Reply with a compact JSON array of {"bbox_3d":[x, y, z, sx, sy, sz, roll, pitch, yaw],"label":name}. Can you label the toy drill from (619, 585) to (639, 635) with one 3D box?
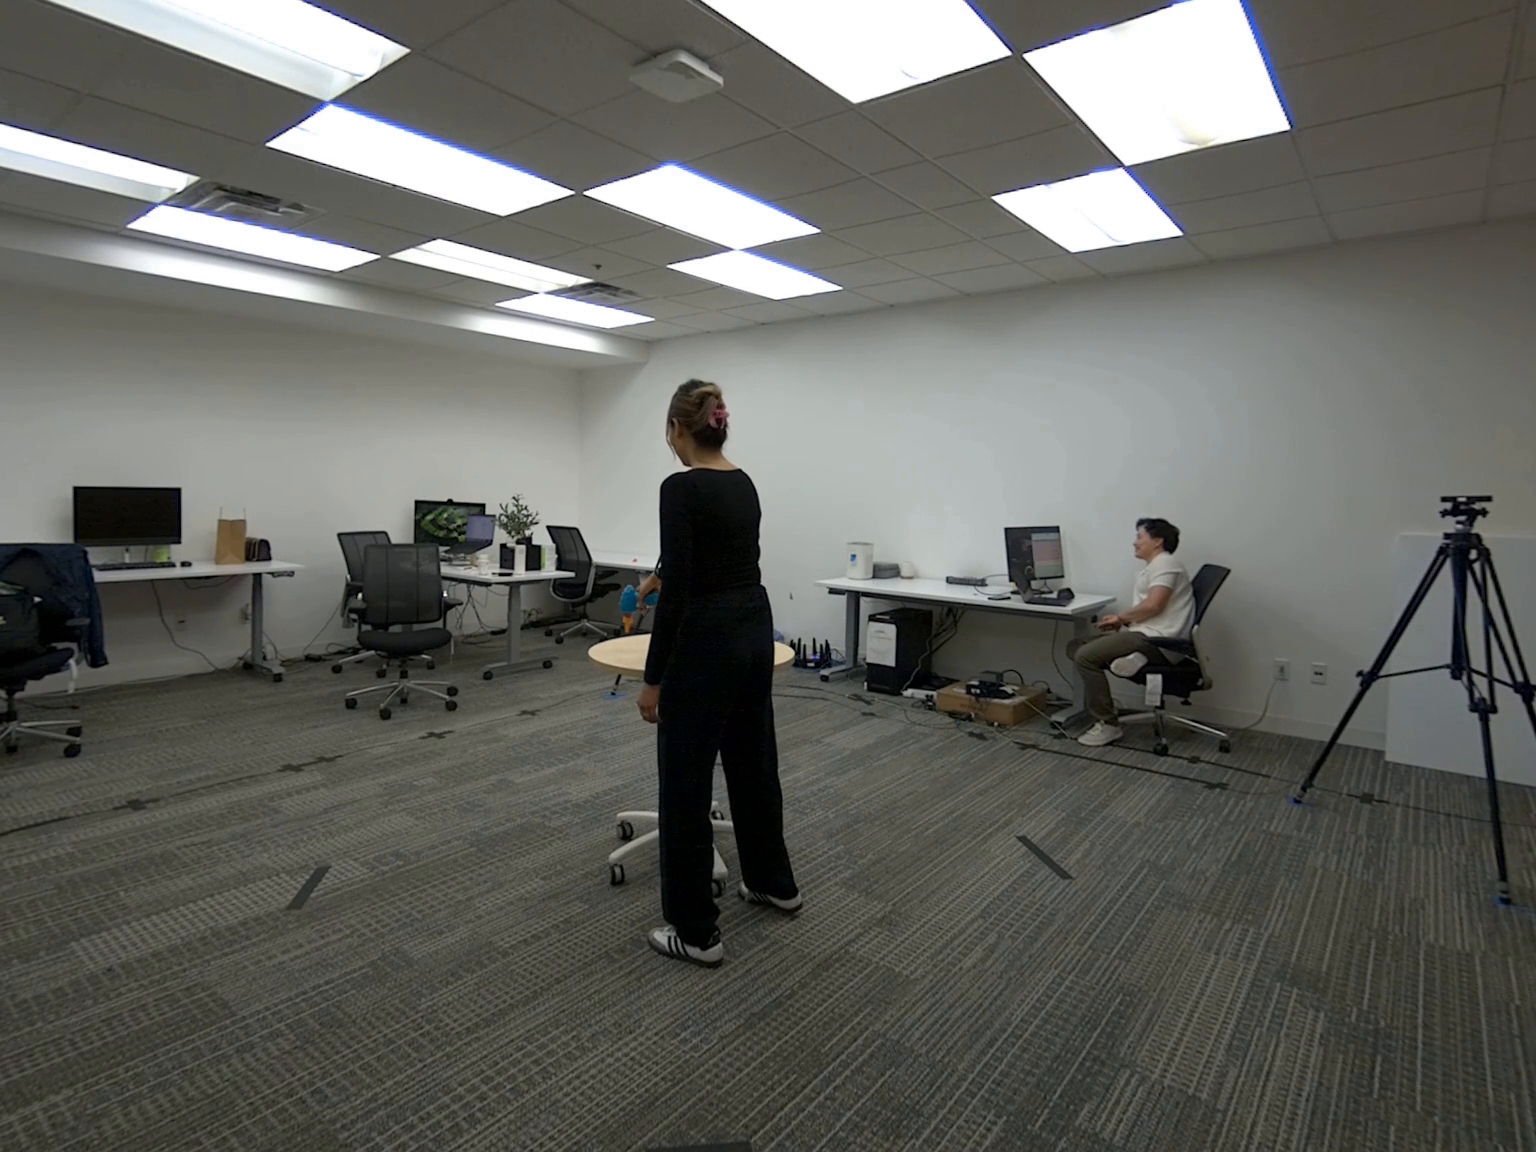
[{"bbox_3d":[-0.477,0.123,3.073,0.146,0.170,0.061,4,-2,-1],"label":"toy drill"}]
